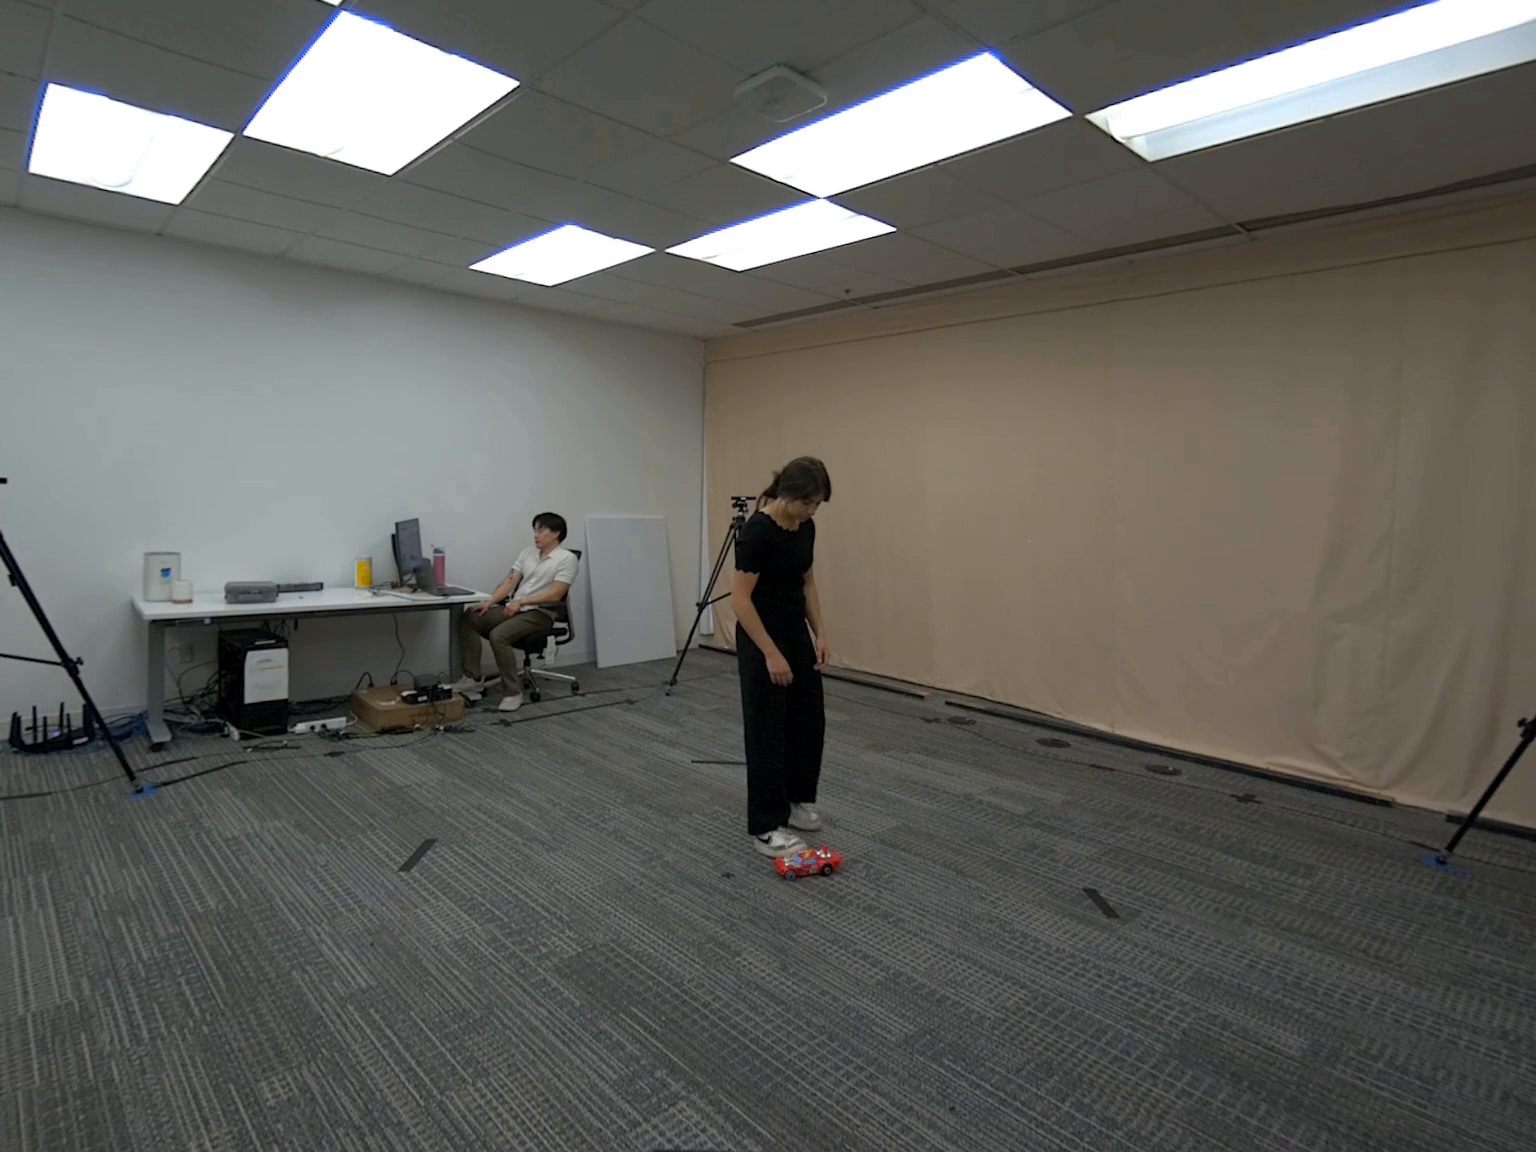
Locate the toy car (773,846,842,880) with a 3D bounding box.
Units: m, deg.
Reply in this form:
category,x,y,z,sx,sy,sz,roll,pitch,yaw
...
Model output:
category,x,y,z,sx,sy,sz,roll,pitch,yaw
toy car,0.143,1.073,3.142,0.252,0.083,0.132,-11,7,-17
